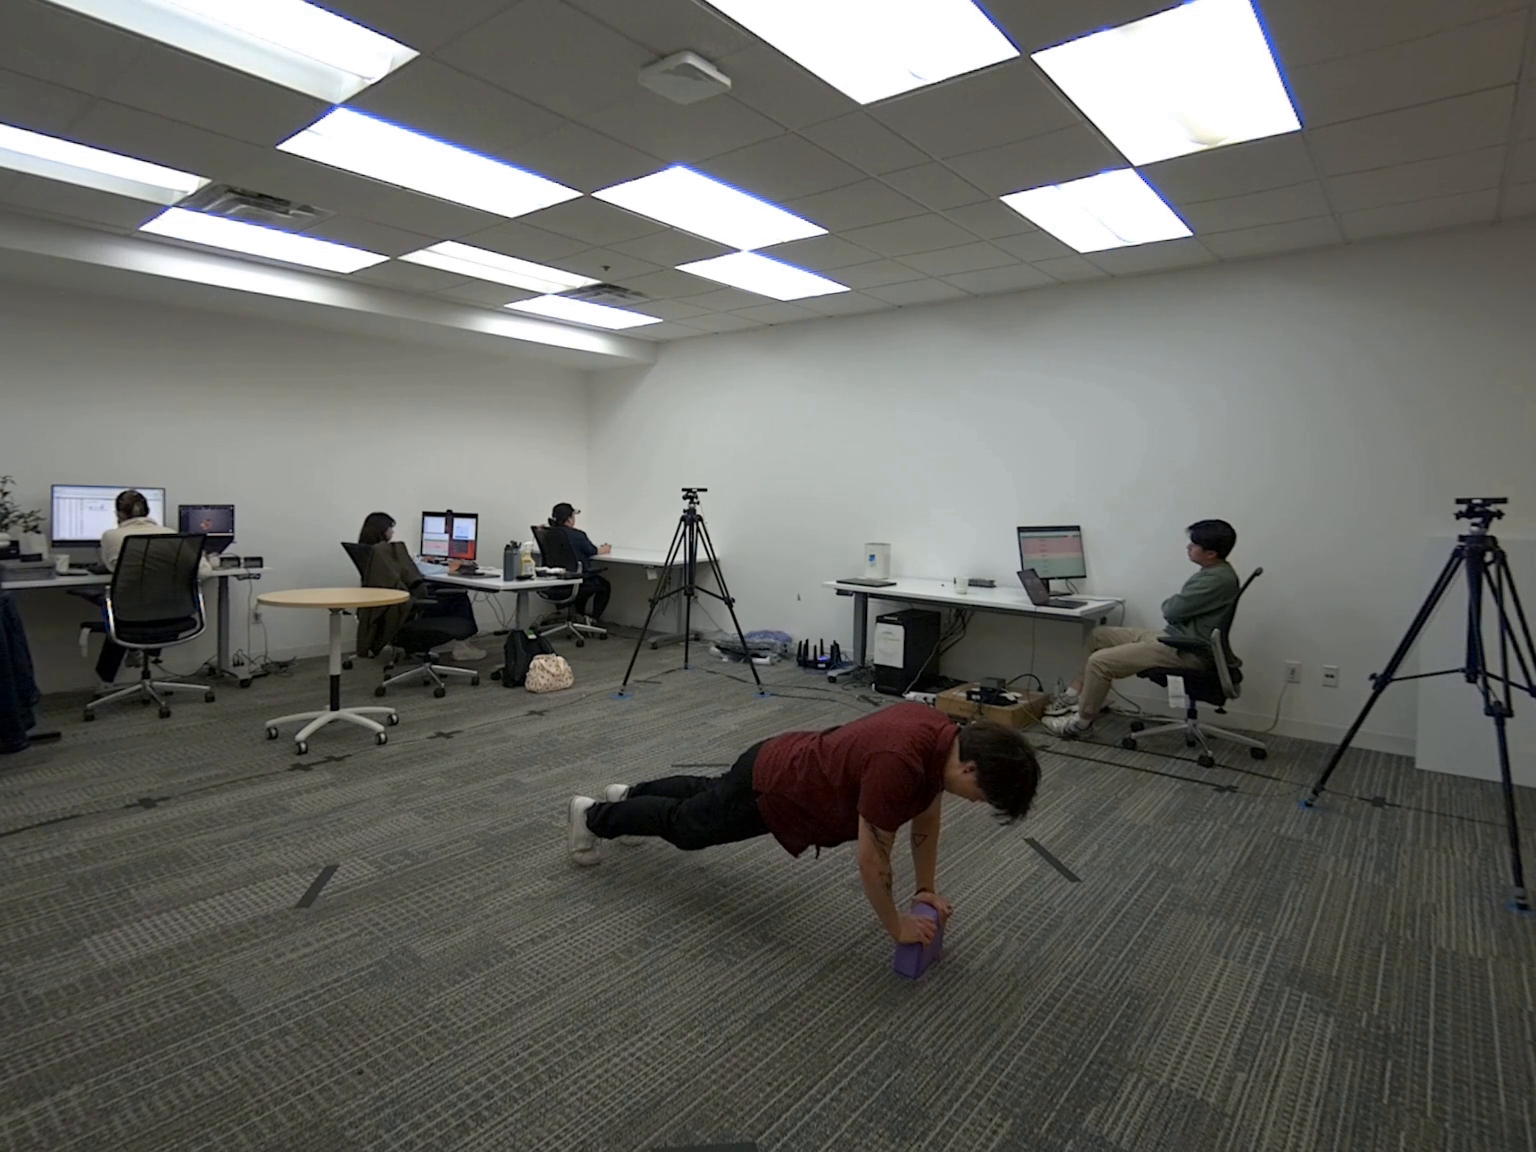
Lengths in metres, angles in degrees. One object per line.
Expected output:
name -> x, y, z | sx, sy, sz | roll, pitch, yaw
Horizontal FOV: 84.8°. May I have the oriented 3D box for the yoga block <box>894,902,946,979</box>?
yoga block -> 0.453, 1.072, 2.542 | 0.079, 0.148, 0.223 | 9, 9, 30
